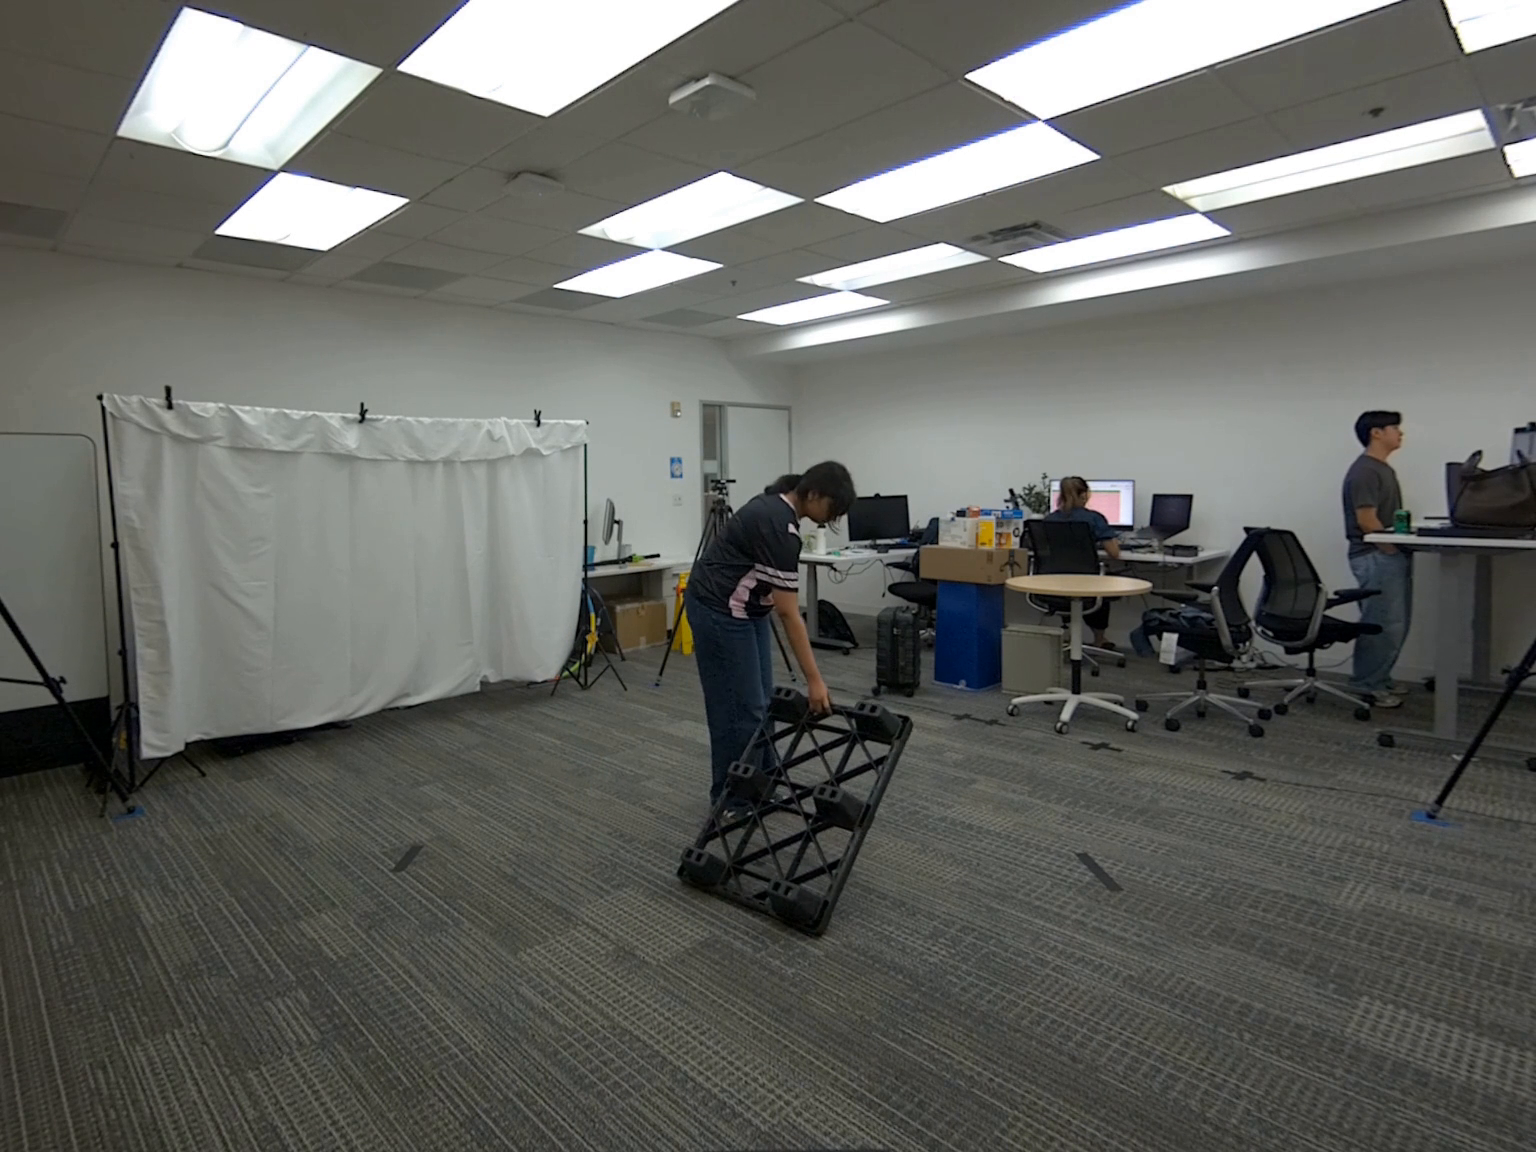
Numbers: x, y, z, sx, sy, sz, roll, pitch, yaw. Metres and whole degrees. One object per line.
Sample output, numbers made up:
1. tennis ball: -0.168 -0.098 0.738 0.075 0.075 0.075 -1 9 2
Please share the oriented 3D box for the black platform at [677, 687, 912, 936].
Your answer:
1. black platform: 0.090 0.755 2.962 0.623 0.138 0.810 2 48 39
